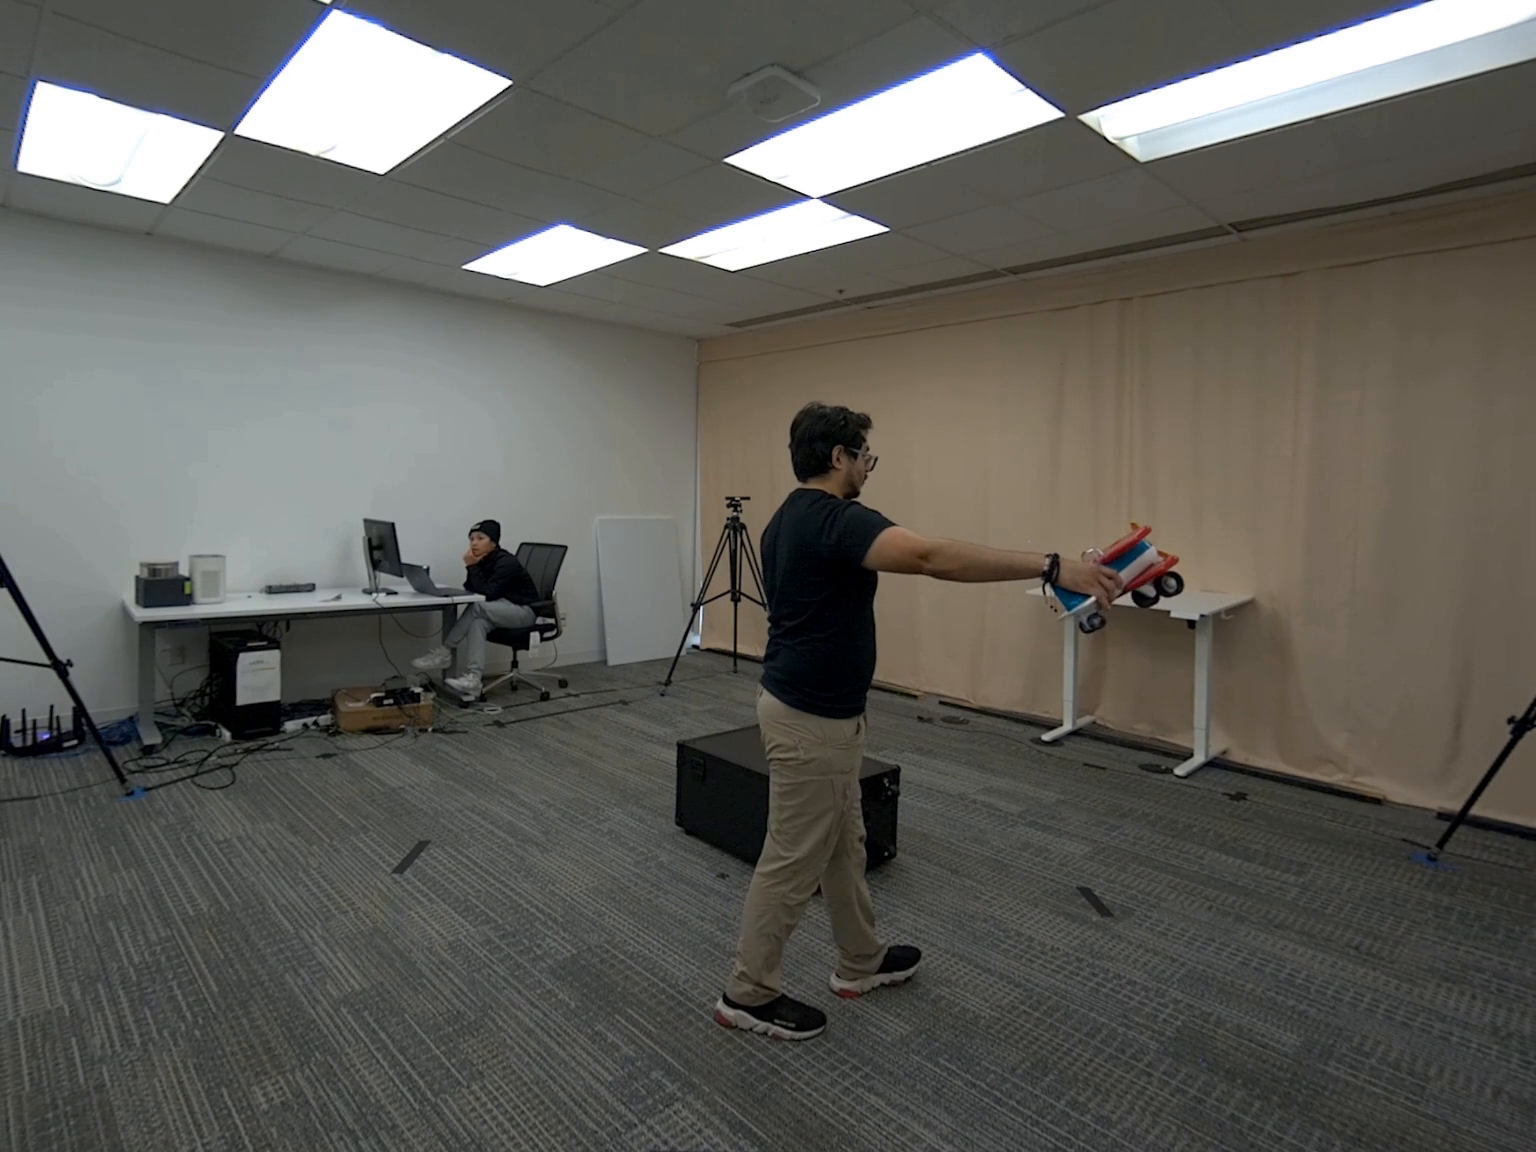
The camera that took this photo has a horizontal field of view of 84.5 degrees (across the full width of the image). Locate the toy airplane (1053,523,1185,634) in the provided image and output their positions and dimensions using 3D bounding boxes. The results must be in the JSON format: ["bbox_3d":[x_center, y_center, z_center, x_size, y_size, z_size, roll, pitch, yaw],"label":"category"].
[{"bbox_3d":[0.731,0.006,1.767,0.254,0.159,0.252,-11,-19,-41],"label":"toy airplane"}]
